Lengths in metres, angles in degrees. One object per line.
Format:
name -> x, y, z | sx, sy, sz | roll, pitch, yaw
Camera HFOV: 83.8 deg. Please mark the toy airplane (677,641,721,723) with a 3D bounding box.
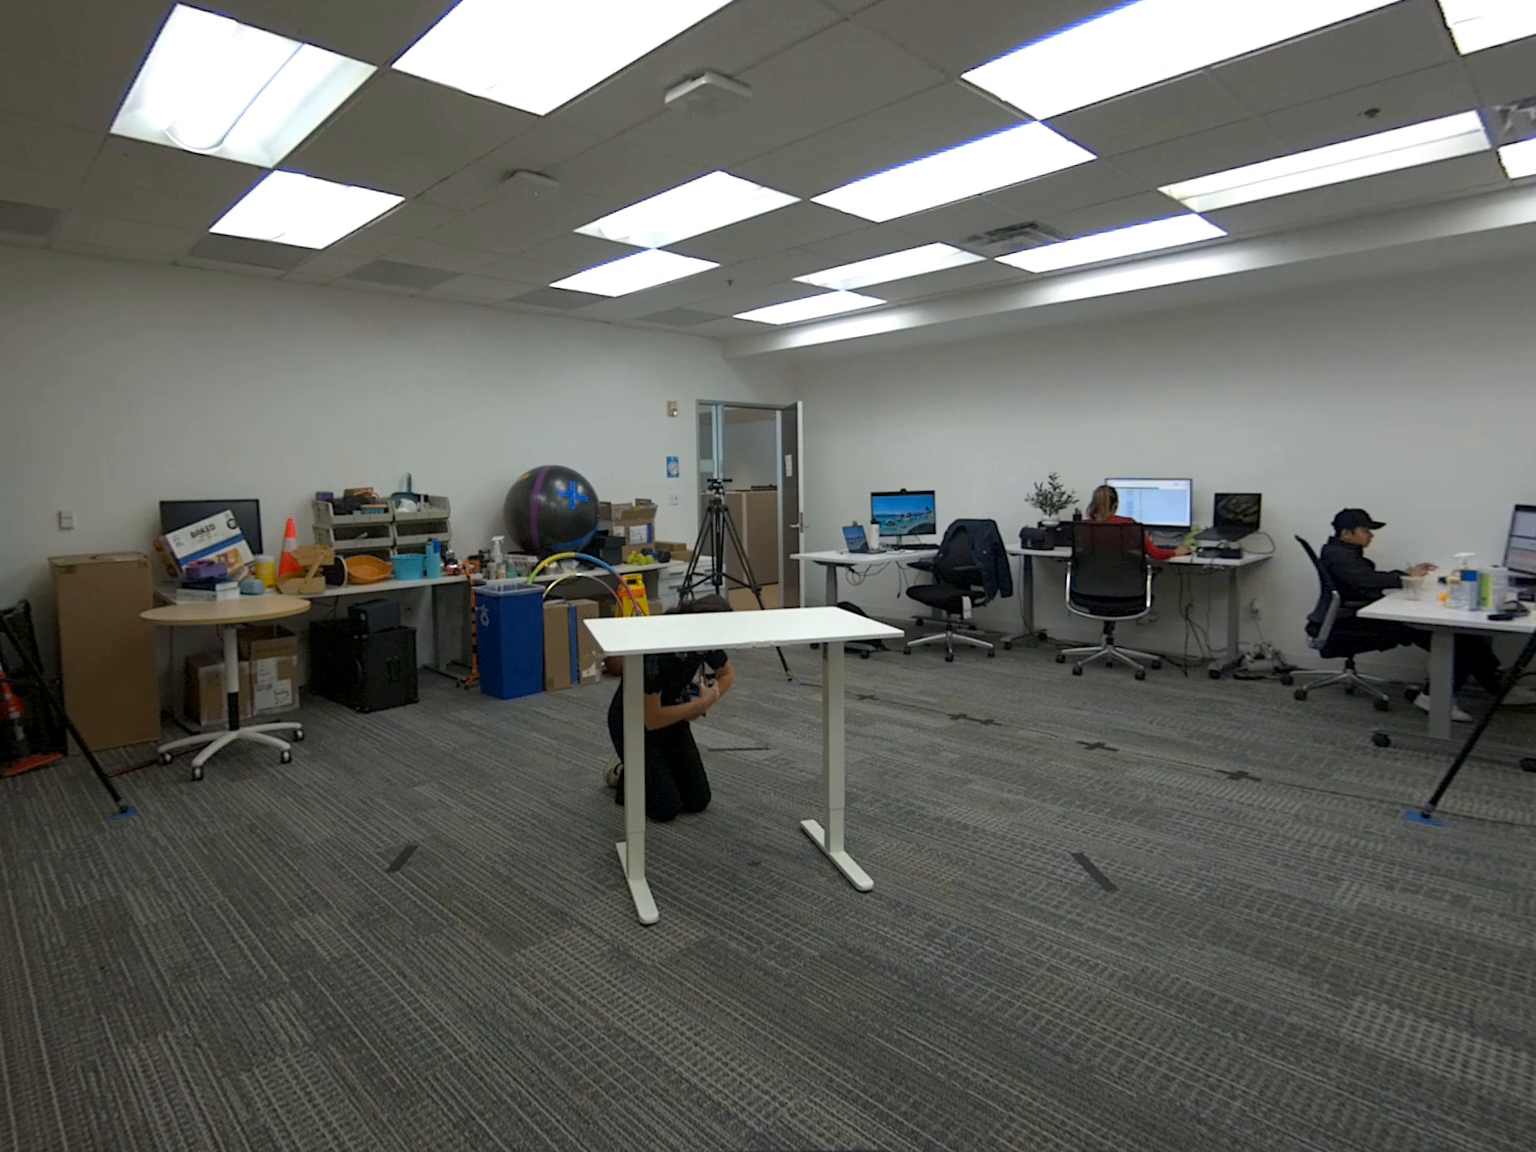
toy airplane -> -0.297, 0.456, 3.681 | 0.156, 0.258, 0.252 | -5, -33, -3
